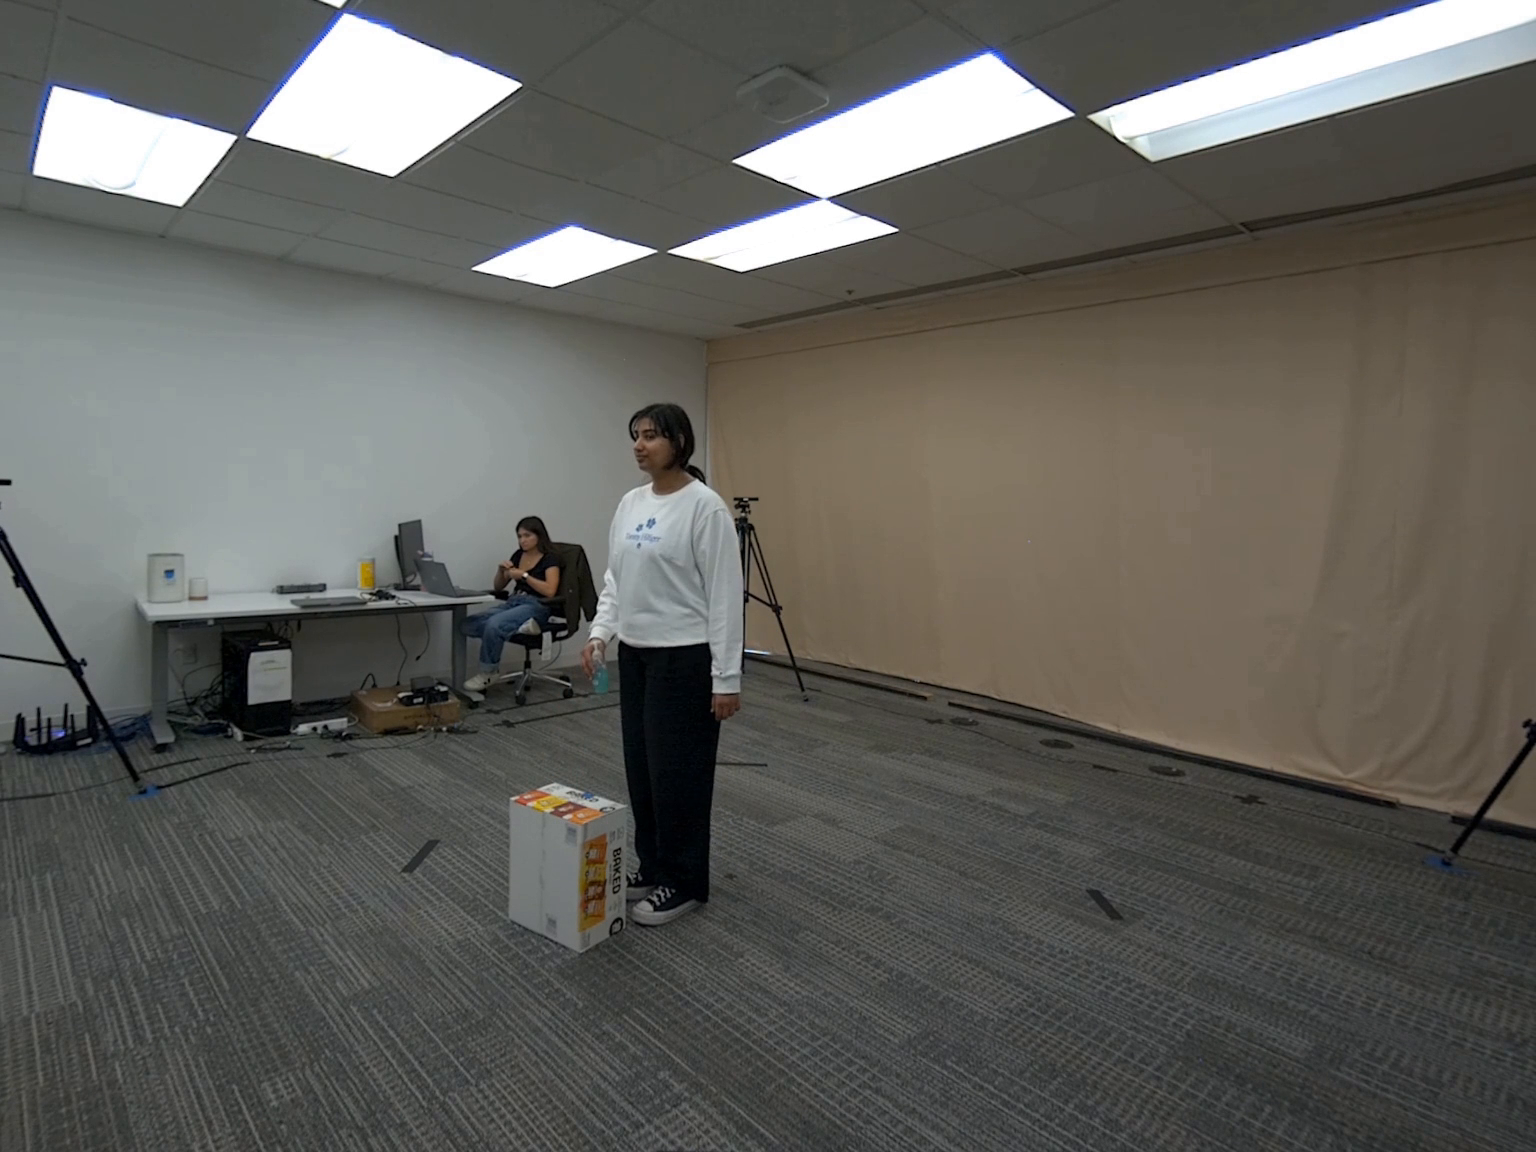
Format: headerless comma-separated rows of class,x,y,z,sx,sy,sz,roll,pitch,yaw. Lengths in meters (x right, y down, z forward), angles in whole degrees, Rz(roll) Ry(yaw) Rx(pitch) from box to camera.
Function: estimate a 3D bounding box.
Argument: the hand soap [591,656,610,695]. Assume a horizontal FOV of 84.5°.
hand soap,-0.557,0.300,2.754,0.042,0.168,0.086,-2,2,-38
